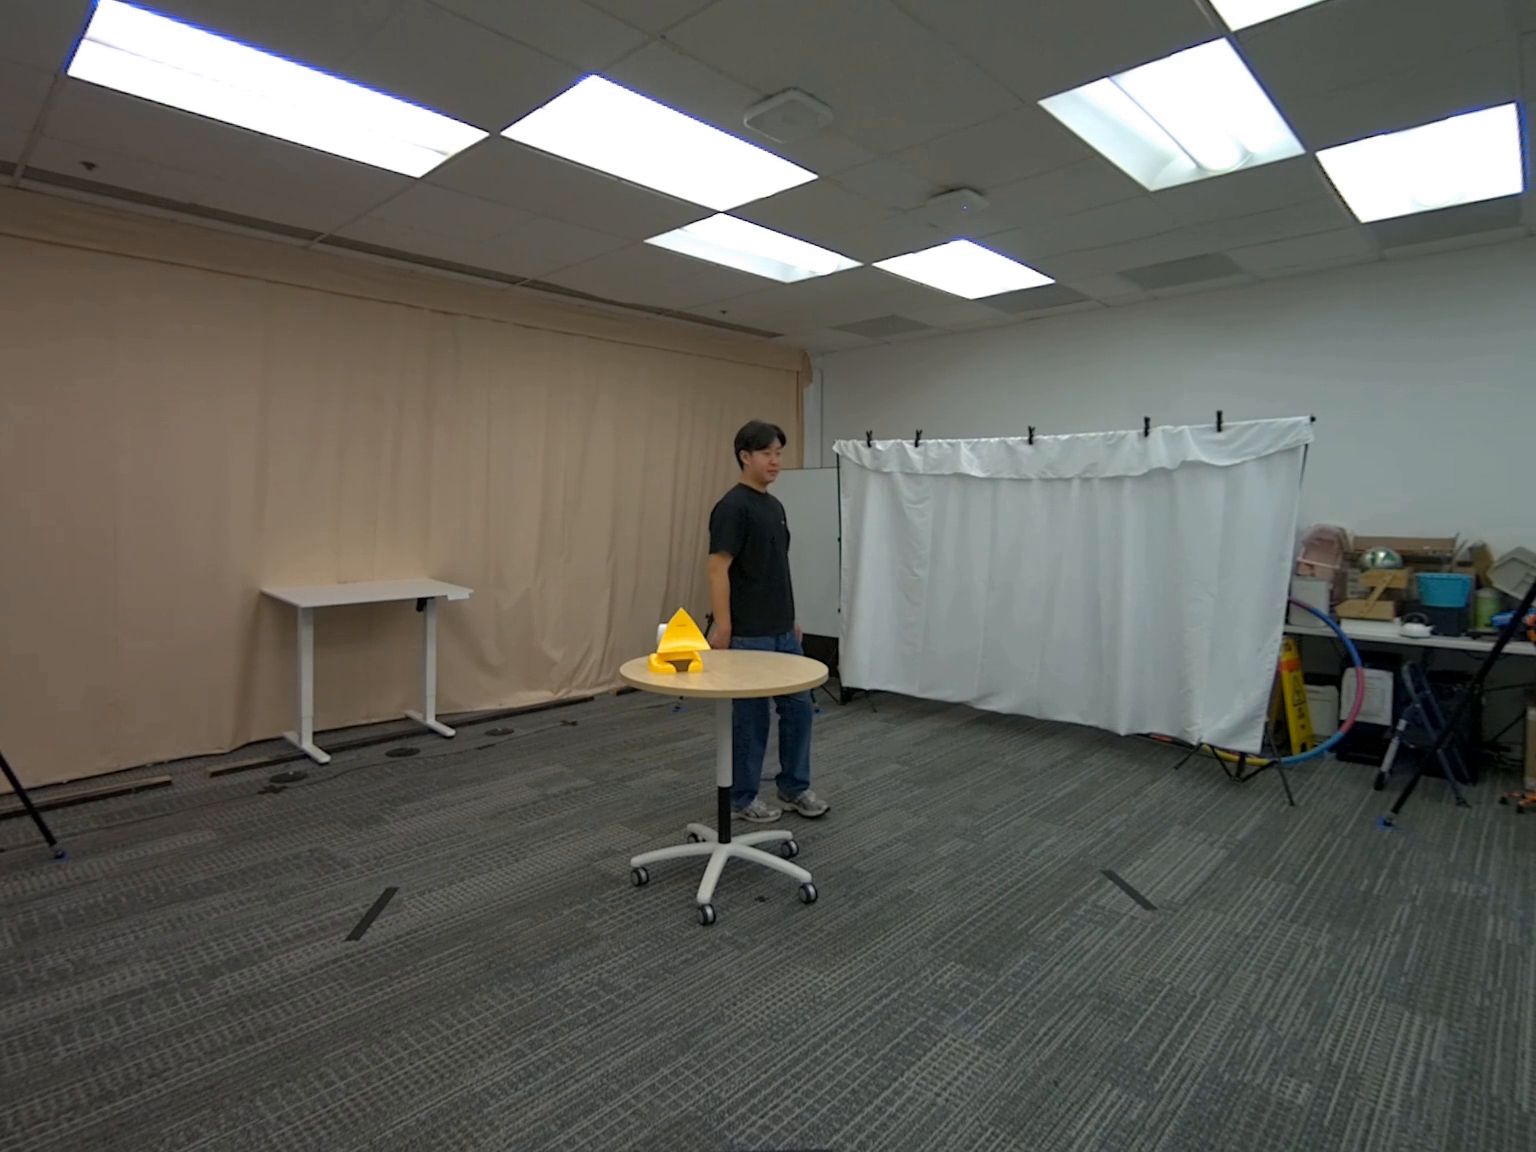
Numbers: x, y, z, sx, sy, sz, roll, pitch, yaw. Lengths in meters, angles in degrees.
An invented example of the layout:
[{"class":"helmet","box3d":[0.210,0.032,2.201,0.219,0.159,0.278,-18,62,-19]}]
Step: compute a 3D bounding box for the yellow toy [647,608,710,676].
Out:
[{"class":"yellow toy","box3d":[-0.336,0.226,3.078,0.200,0.230,0.198,-2,5,-24]}]
